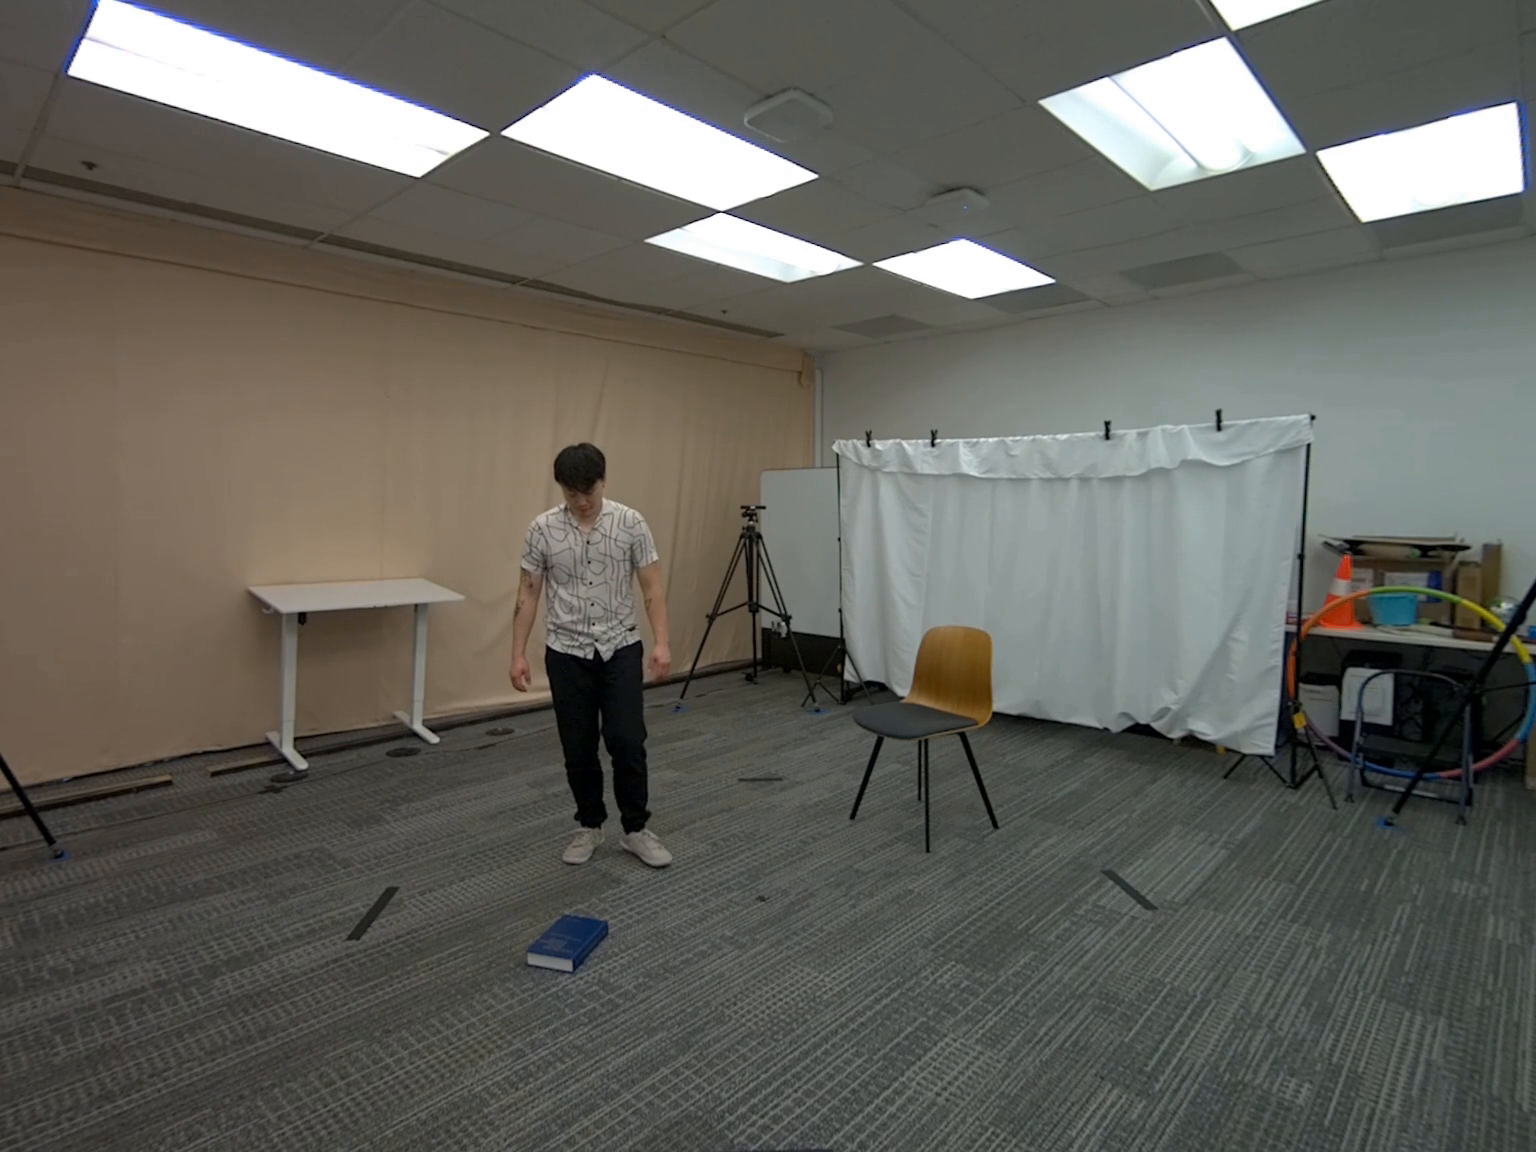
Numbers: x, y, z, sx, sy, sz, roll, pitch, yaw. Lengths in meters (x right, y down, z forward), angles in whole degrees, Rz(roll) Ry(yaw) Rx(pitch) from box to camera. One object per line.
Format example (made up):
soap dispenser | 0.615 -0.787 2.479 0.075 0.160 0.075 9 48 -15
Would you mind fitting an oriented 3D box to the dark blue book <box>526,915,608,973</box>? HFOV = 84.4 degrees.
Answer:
dark blue book | -0.630 1.145 2.650 0.166 0.045 0.241 0 5 16
